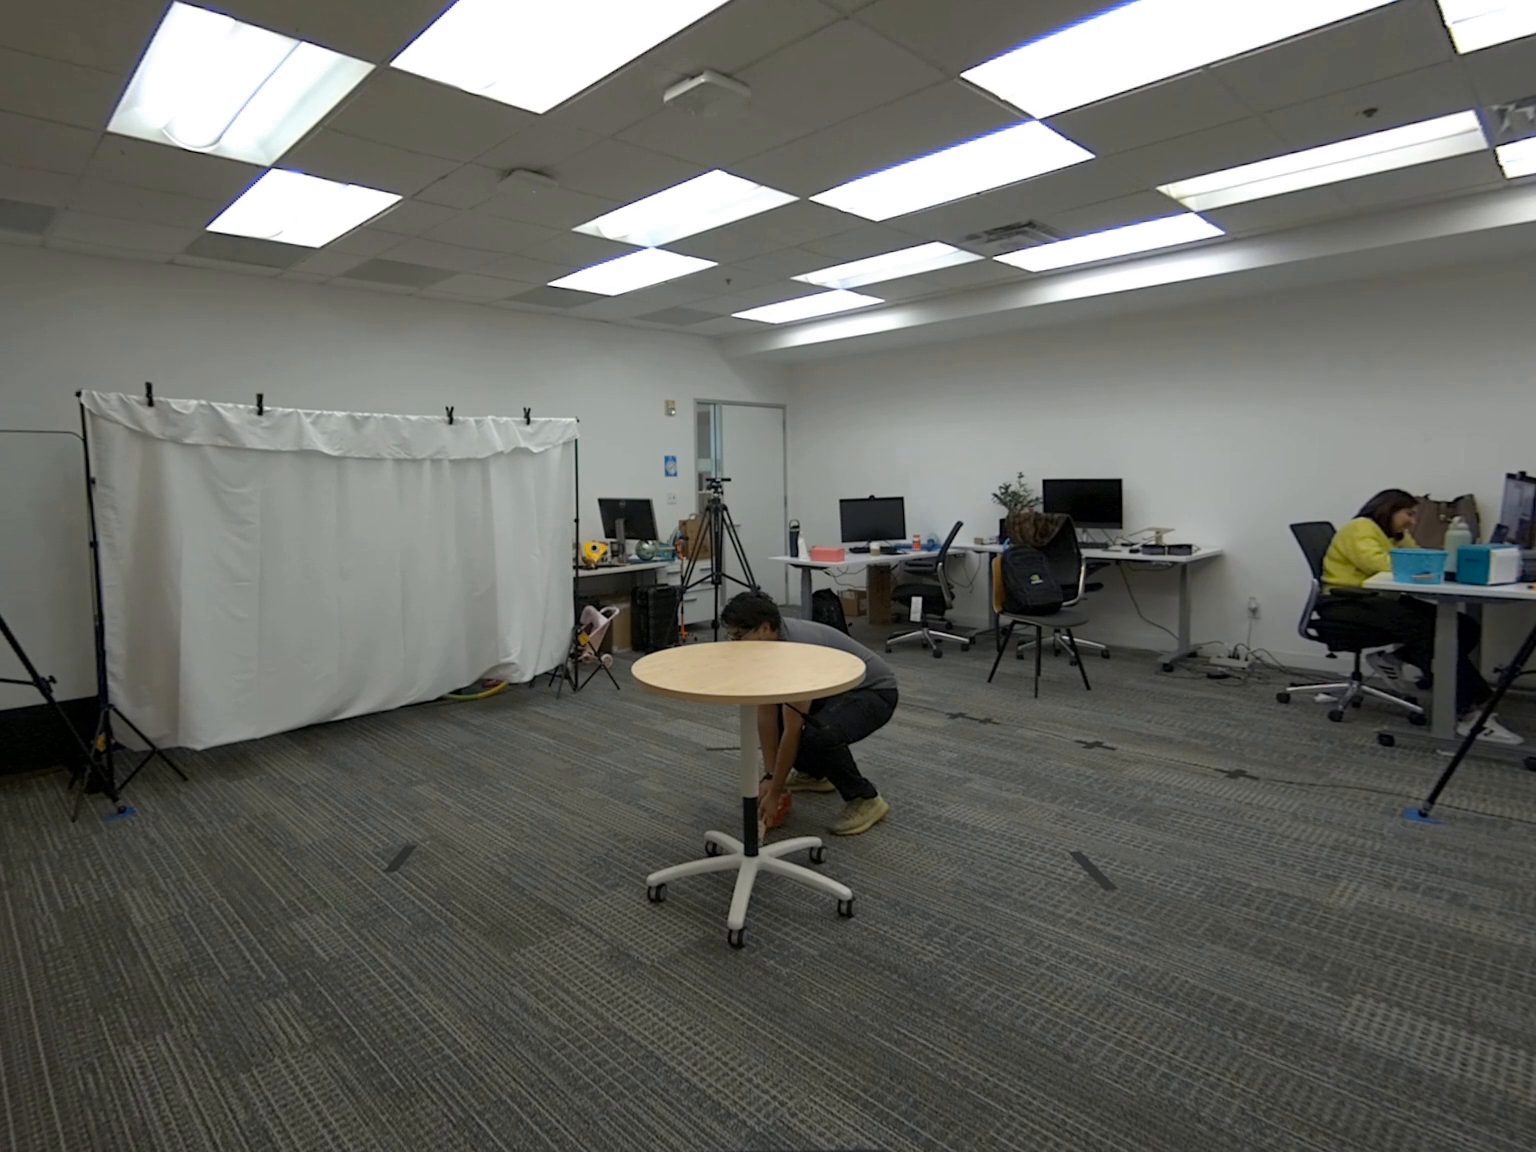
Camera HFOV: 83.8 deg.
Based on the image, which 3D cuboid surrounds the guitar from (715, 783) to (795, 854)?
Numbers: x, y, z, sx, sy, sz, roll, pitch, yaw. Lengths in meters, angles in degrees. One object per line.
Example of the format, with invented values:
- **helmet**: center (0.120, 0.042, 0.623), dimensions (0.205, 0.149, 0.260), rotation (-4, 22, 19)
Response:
- **guitar**: center (-0.044, 0.951, 3.405), dimensions (0.196, 0.070, 0.493), rotation (-3, 7, 14)
